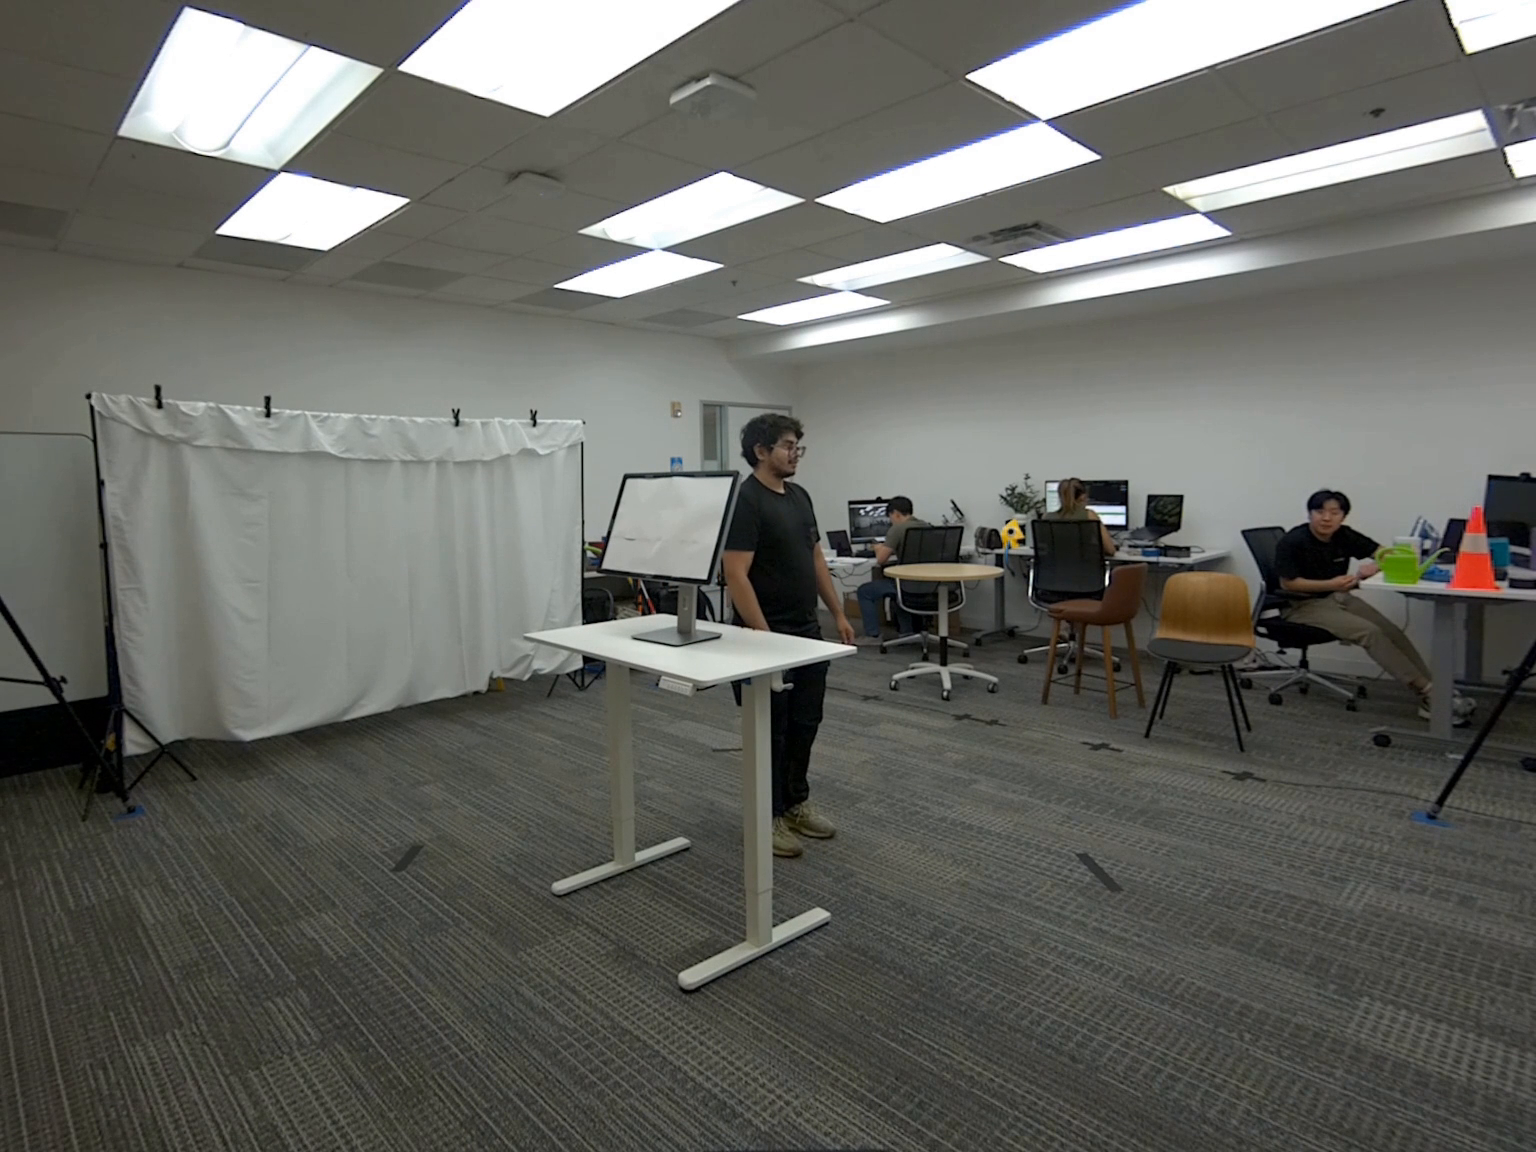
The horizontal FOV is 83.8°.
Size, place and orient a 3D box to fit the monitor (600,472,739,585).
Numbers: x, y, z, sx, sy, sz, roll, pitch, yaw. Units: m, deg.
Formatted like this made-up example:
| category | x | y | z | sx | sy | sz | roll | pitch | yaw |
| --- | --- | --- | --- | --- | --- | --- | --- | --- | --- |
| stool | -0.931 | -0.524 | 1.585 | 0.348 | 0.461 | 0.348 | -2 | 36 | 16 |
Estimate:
| category | x | y | z | sx | sy | sz | roll | pitch | yaw |
| --- | --- | --- | --- | --- | --- | --- | --- | --- | --- |
| monitor | -0.286 | -0.065 | 2.801 | 0.583 | 0.555 | 0.203 | 4 | -4 | 43 |
